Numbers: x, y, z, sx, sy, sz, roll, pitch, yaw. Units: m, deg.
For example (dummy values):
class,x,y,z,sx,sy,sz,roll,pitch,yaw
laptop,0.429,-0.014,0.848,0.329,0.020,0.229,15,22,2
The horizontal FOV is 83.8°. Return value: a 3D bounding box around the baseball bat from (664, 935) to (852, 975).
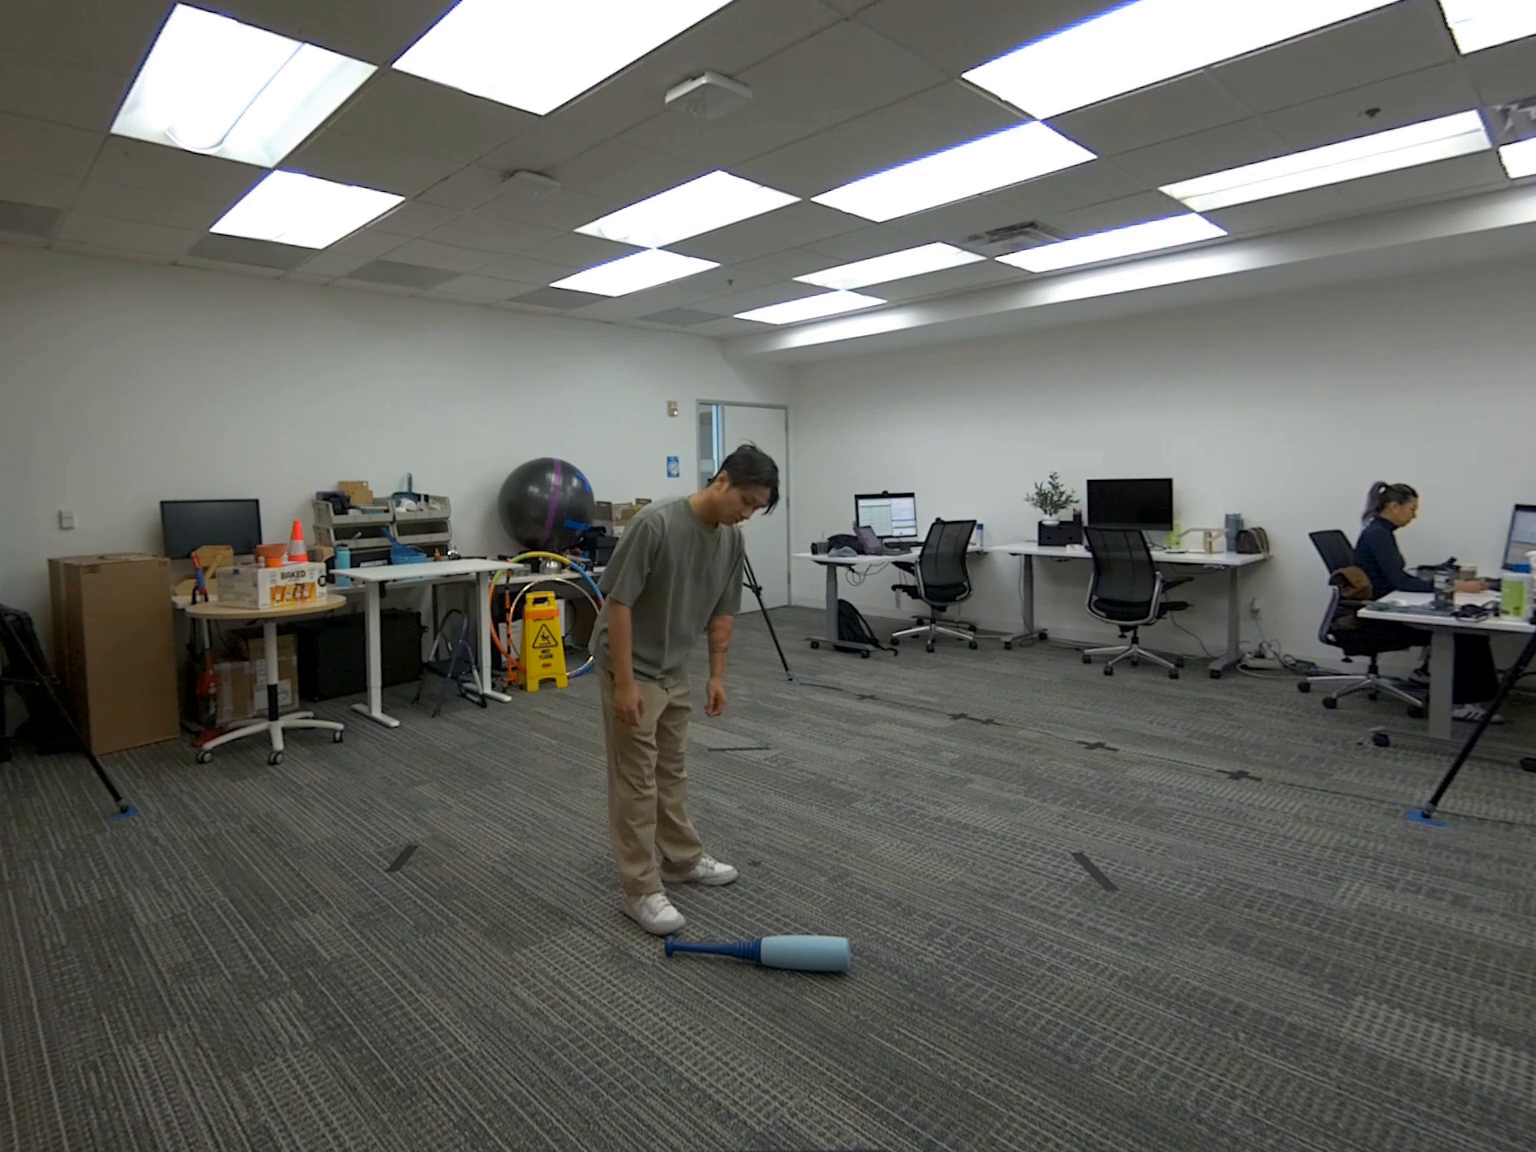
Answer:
class,x,y,z,sx,sy,sz,roll,pitch,yaw
baseball bat,-0.028,1.081,2.463,0.549,0.089,0.088,-3,4,11
